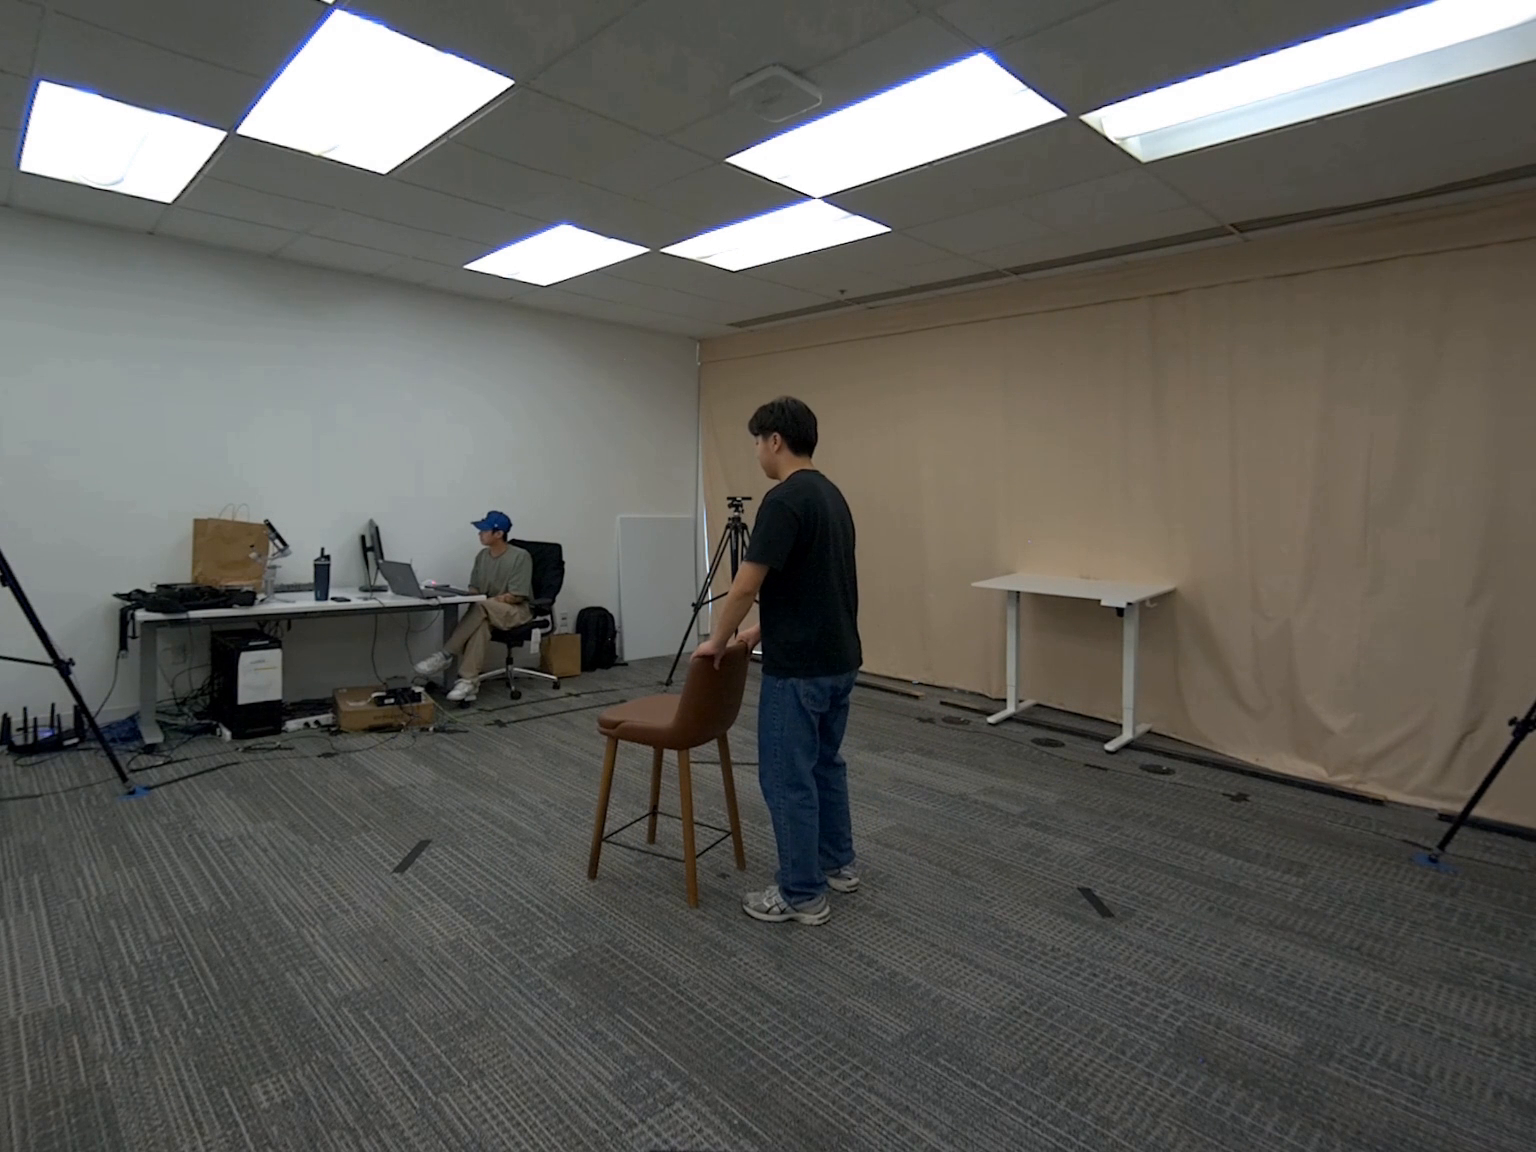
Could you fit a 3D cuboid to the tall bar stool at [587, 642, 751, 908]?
[{"bbox_3d":[-0.348,0.662,3.093,0.478,0.887,0.448,5,5,28],"label":"tall bar stool"}]
